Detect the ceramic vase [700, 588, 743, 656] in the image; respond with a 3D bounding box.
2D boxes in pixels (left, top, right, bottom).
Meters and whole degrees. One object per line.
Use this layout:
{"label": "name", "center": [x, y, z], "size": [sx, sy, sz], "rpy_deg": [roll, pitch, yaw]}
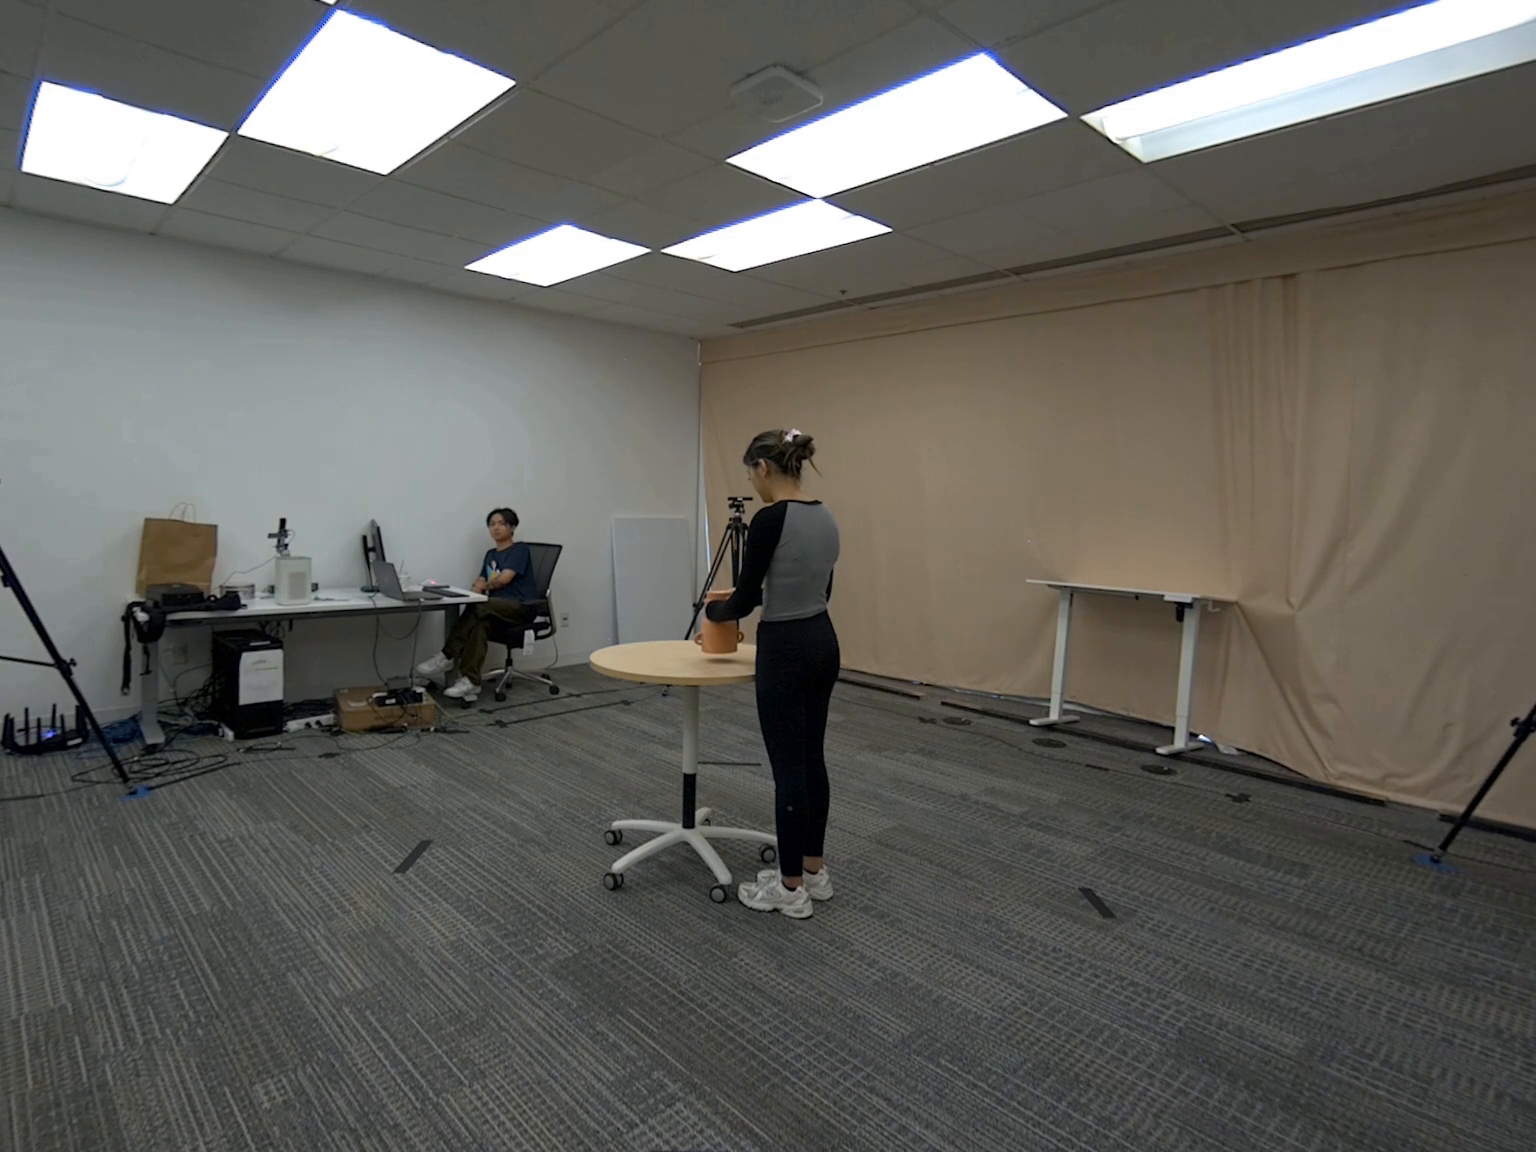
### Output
{"label": "ceramic vase", "center": [-0.182, 0.167, 3.091], "size": [0.137, 0.219, 0.156], "rpy_deg": [3, 7, 28]}
